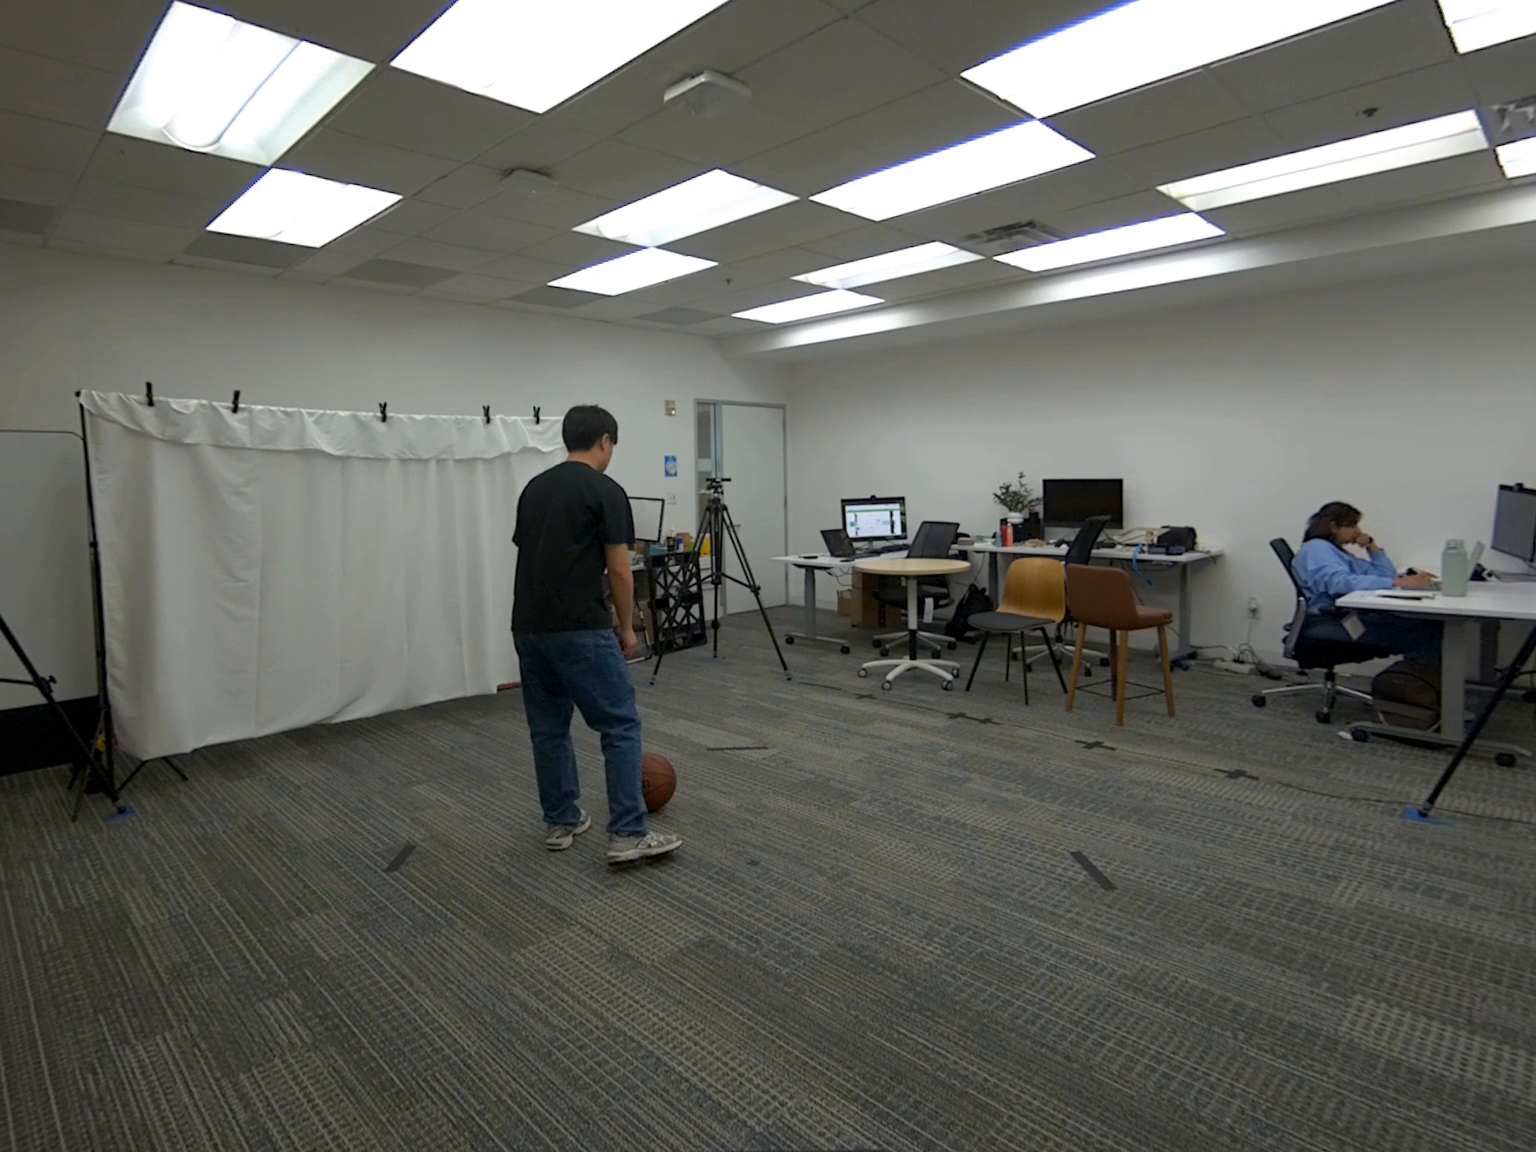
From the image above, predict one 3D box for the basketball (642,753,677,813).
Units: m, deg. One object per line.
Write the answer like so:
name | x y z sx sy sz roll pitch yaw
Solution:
basketball | -0.505 0.871 3.626 0.236 0.235 0.237 -1 5 -2
